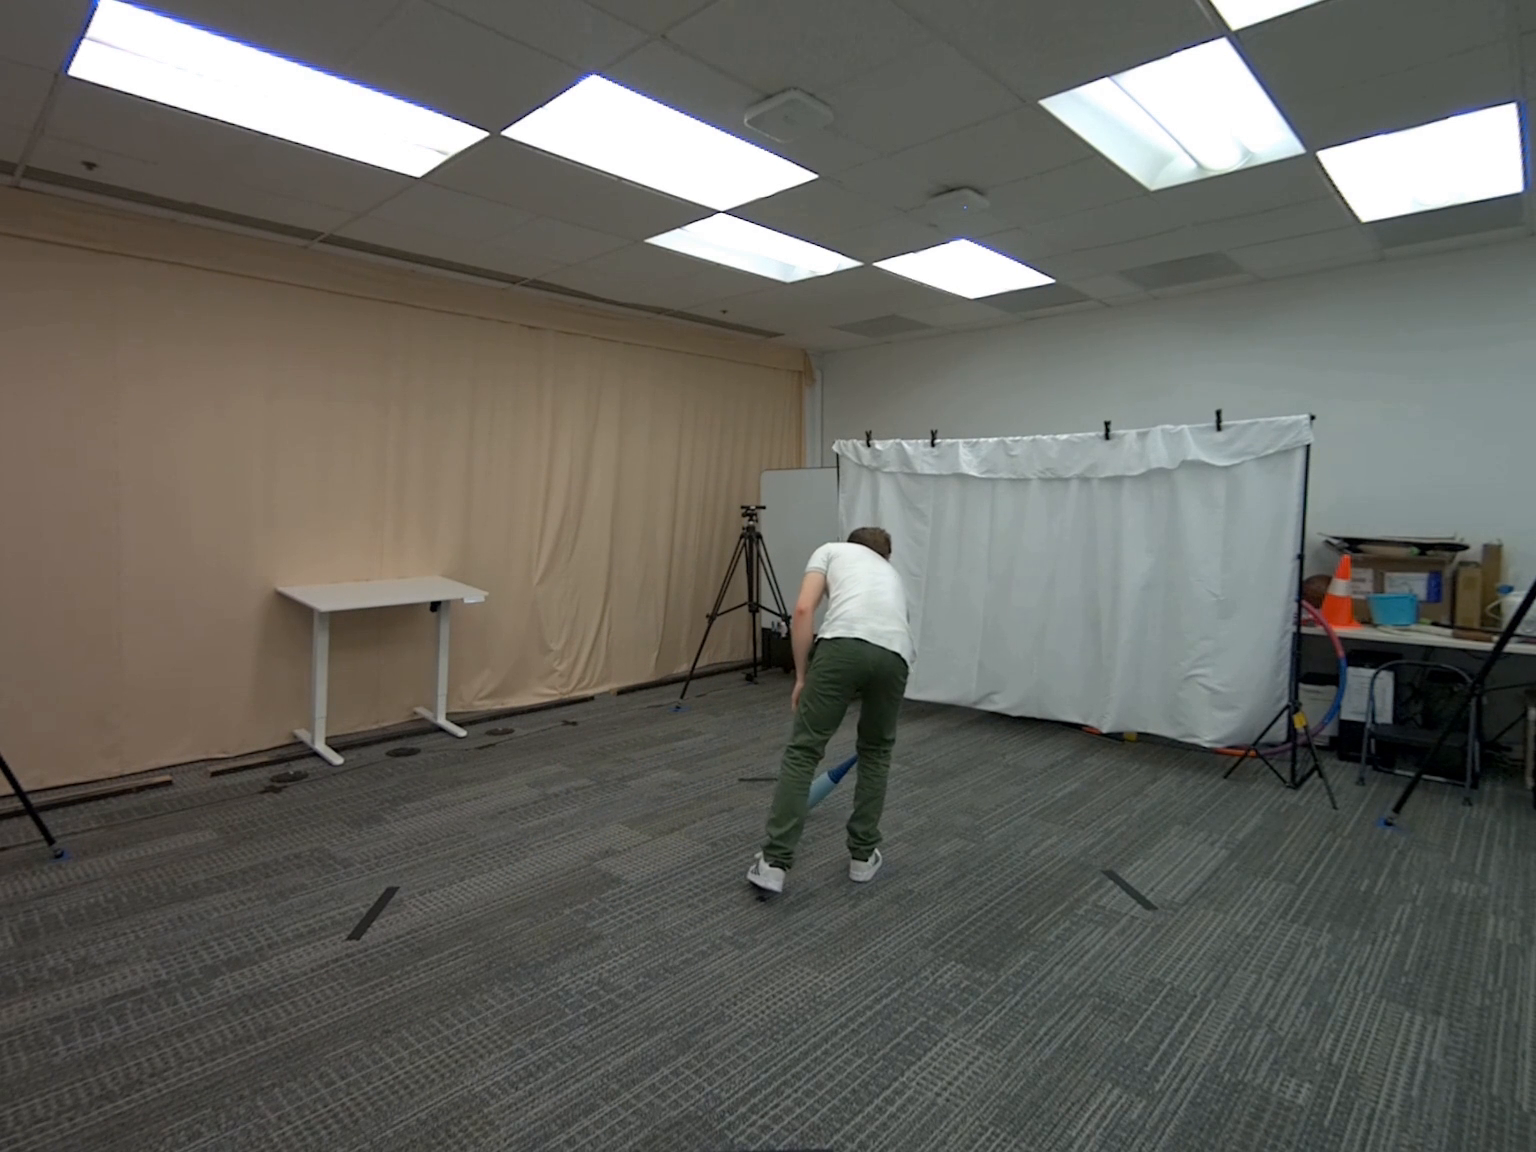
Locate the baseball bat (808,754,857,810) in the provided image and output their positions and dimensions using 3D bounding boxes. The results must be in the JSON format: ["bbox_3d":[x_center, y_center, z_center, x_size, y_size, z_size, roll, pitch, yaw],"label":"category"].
[{"bbox_3d":[0.301,0.875,3.696,0.546,0.090,0.087,-45,-12,18],"label":"baseball bat"}]
